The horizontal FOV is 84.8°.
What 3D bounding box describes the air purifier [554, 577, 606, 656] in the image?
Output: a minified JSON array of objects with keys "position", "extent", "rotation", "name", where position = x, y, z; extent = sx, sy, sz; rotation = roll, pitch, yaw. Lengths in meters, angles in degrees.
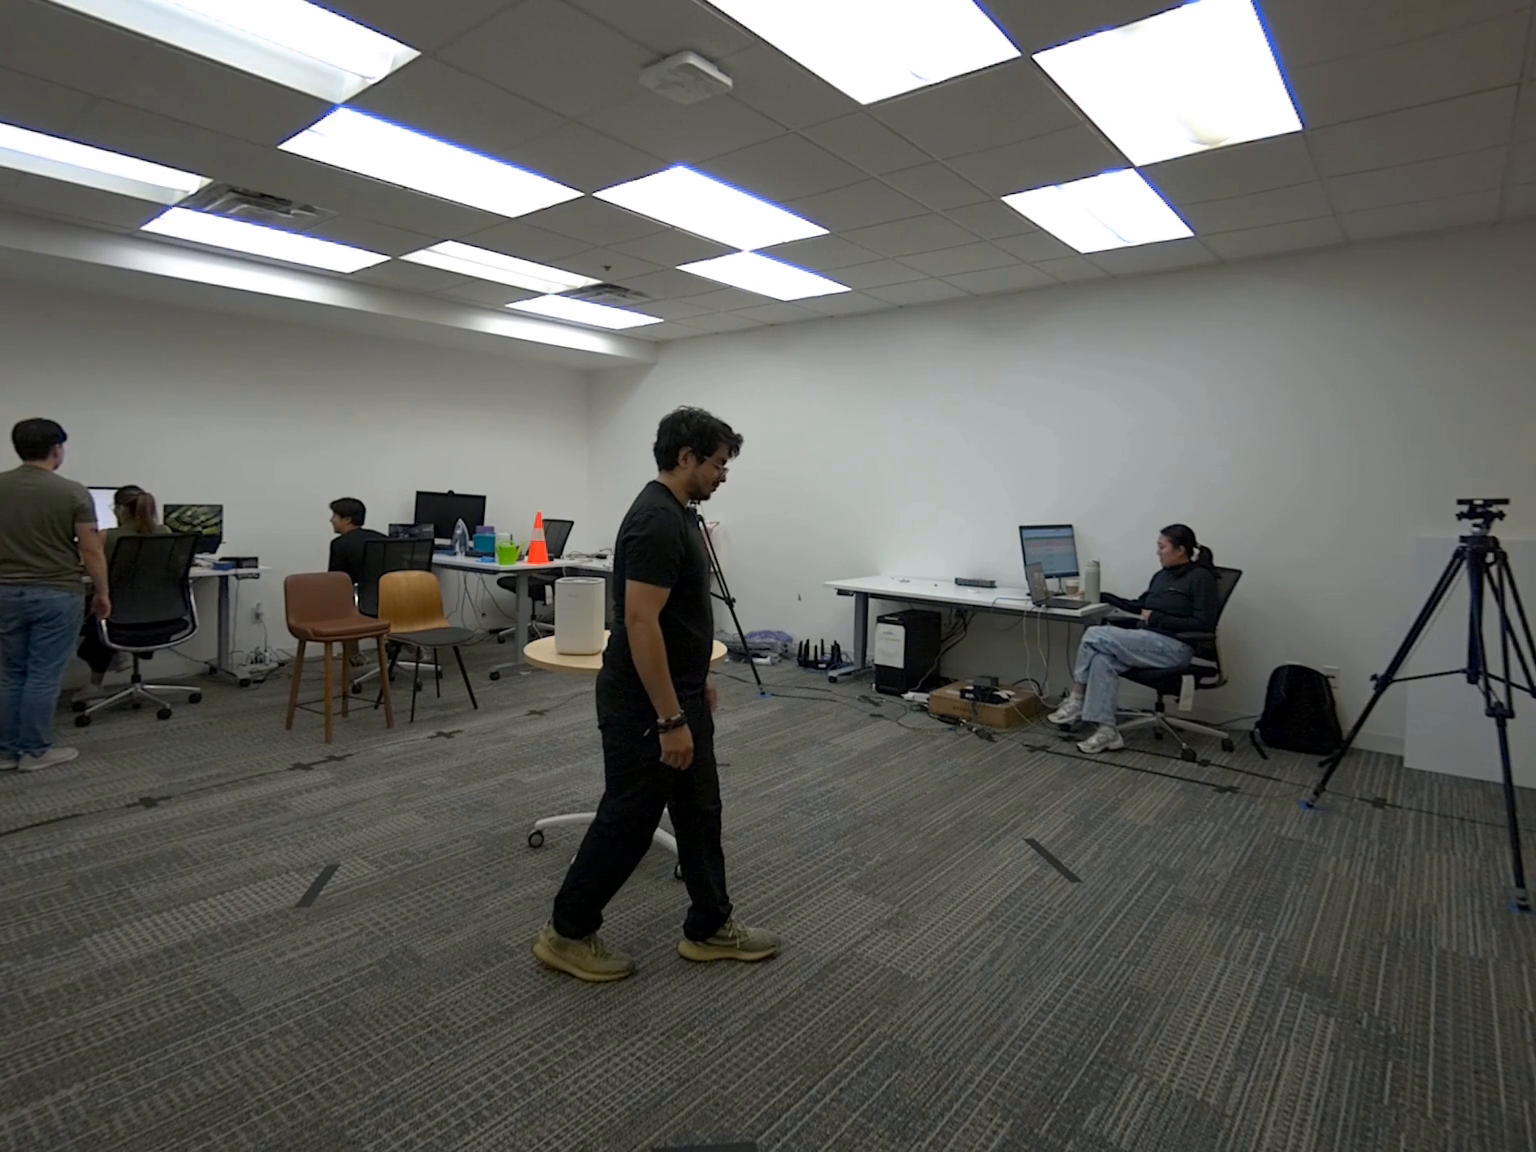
[{"position":[-0.703,0.141,3.132],"extent":[0.172,0.265,0.171],"rotation":[0,3,2],"name":"air purifier"}]
